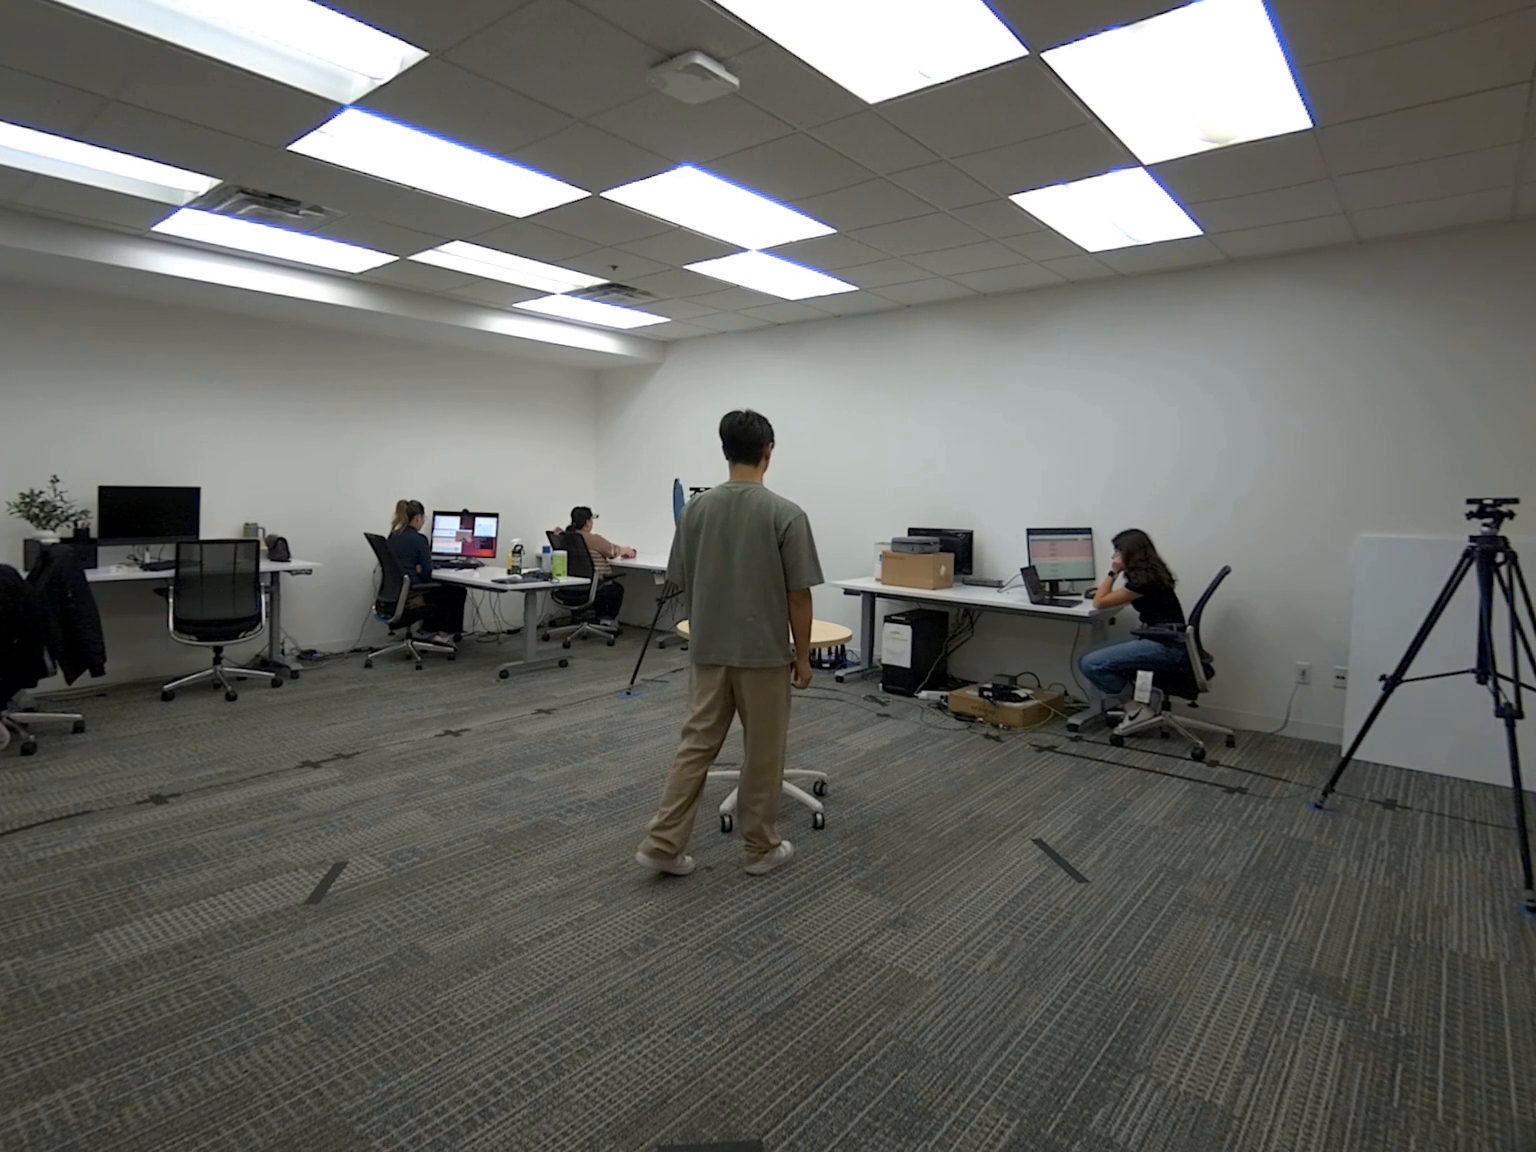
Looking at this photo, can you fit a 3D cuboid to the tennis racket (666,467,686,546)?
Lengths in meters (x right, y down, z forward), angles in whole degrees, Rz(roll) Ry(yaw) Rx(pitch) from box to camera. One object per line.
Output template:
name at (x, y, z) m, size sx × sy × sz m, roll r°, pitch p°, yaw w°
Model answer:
tennis racket at (-0.378, -0.220, 3.523) m, size 0.031 × 0.446 × 0.210 m, roll 1°, pitch -34°, yaw -16°
